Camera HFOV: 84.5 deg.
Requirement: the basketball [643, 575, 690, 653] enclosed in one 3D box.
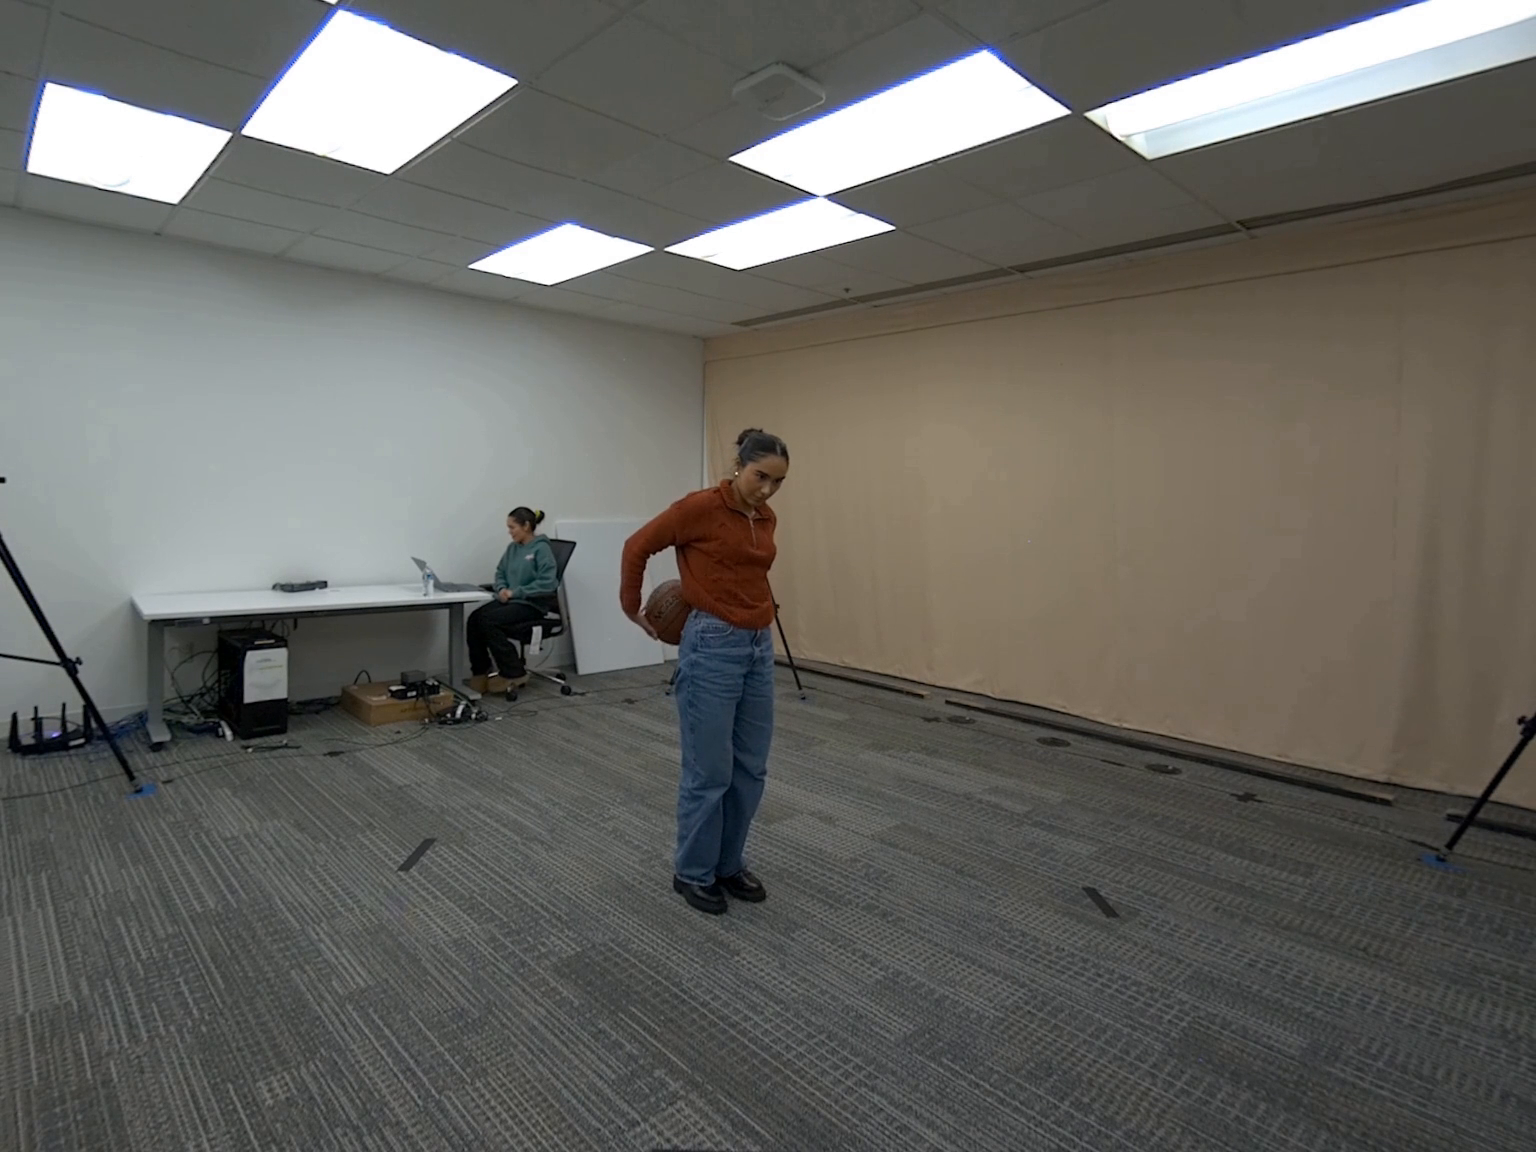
[{"bbox_3d":[-0.314,0.129,3.005,0.236,0.235,0.237,1,4,-1],"label":"basketball"}]
